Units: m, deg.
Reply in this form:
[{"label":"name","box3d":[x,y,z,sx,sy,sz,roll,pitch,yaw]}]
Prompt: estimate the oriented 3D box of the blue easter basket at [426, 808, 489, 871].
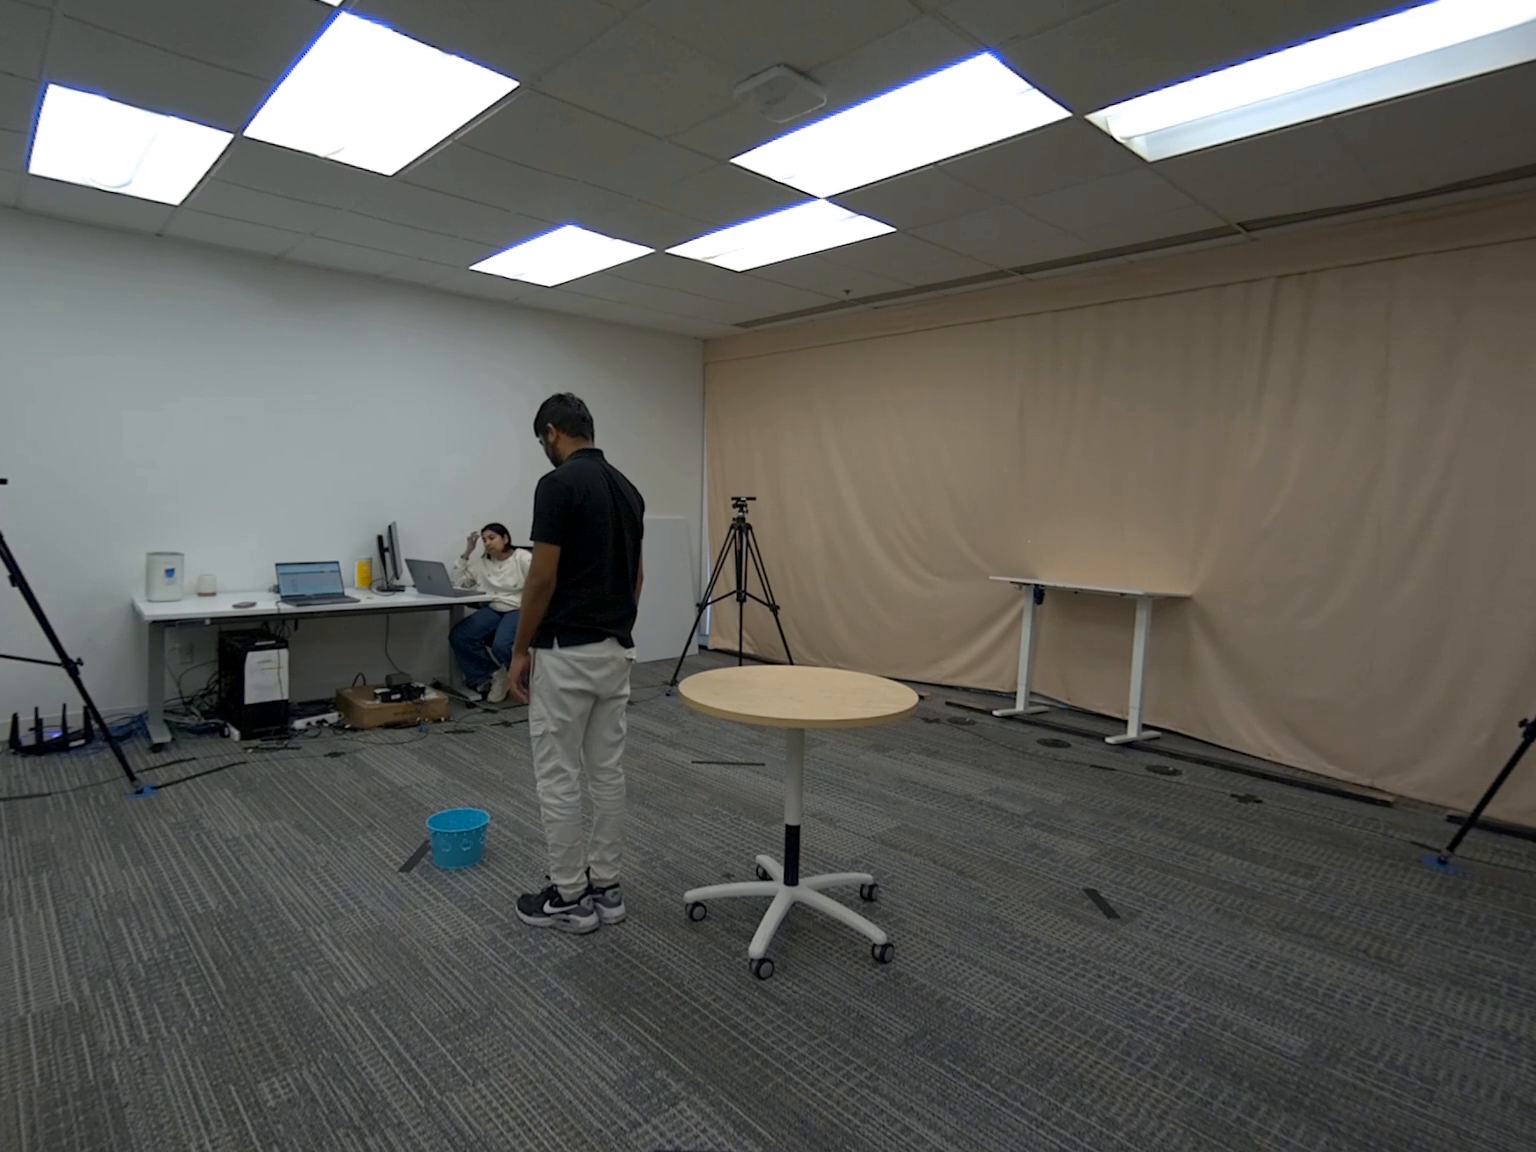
[{"label":"blue easter basket","box3d":[-1.184,0.998,3.201,0.243,0.155,0.244,2,5,-2]}]
